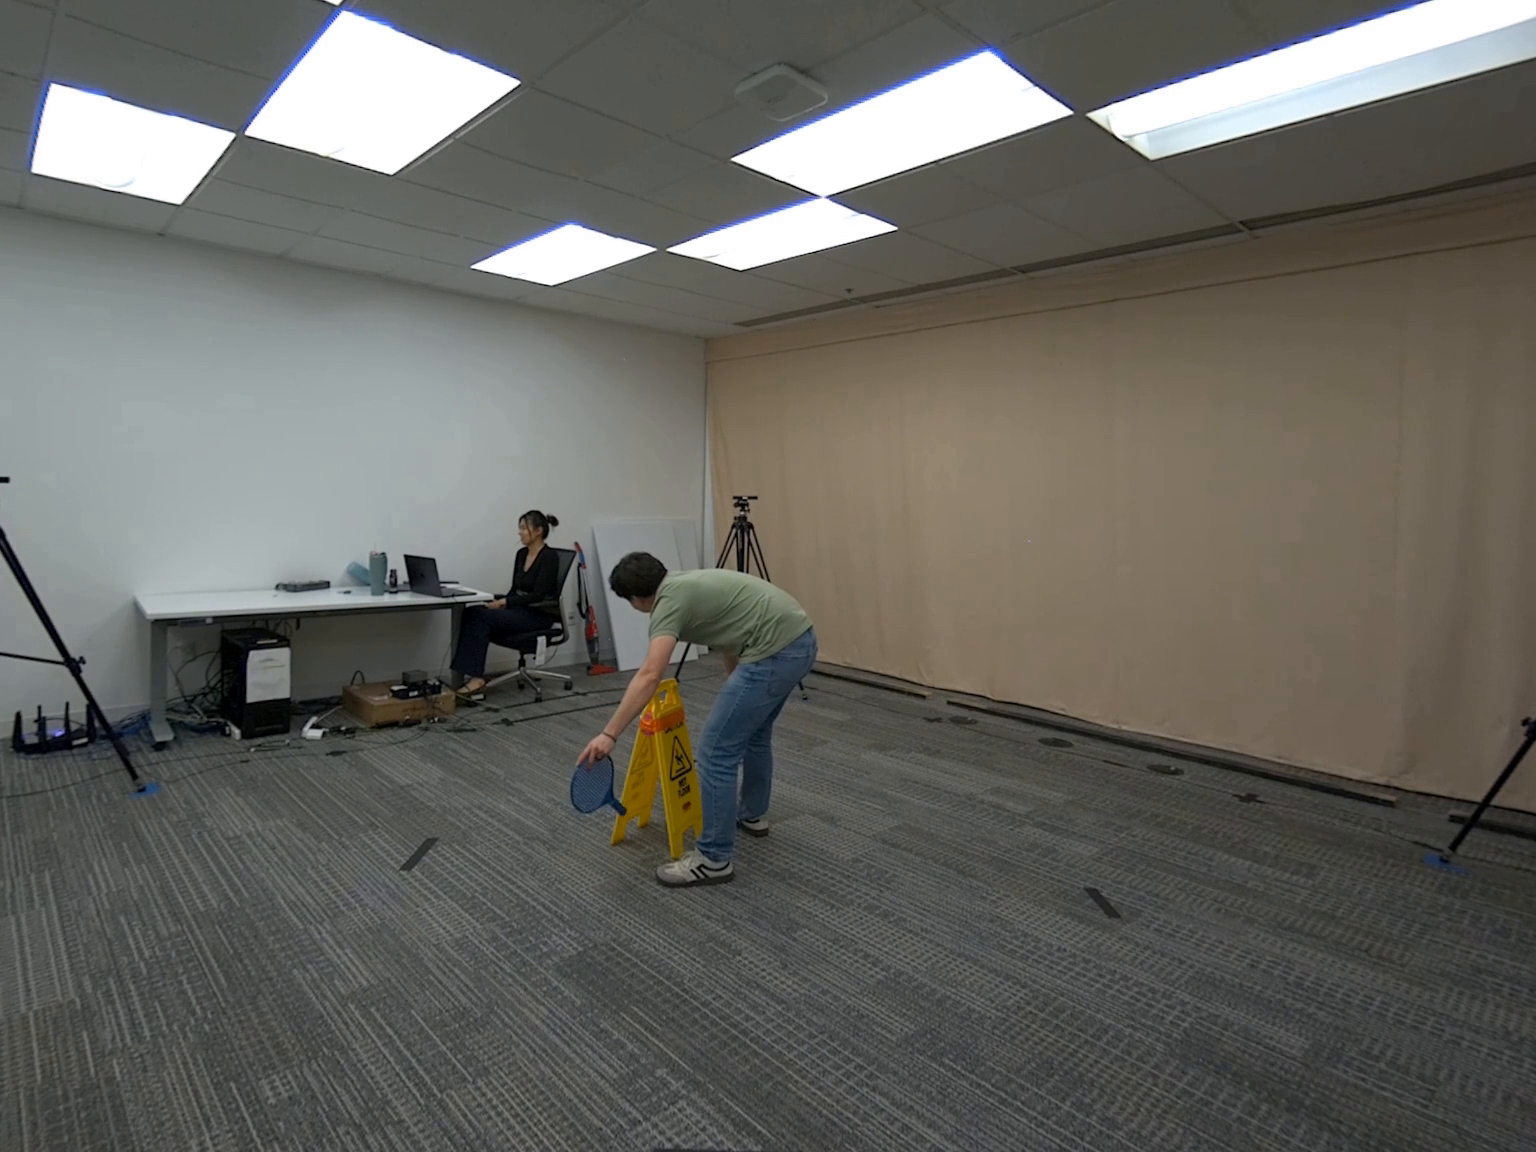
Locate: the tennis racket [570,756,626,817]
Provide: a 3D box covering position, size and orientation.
[{"bbox_3d":[-0.595,0.767,2.971,0.032,0.215,0.421,12,-36,23],"label":"tennis racket"}]
